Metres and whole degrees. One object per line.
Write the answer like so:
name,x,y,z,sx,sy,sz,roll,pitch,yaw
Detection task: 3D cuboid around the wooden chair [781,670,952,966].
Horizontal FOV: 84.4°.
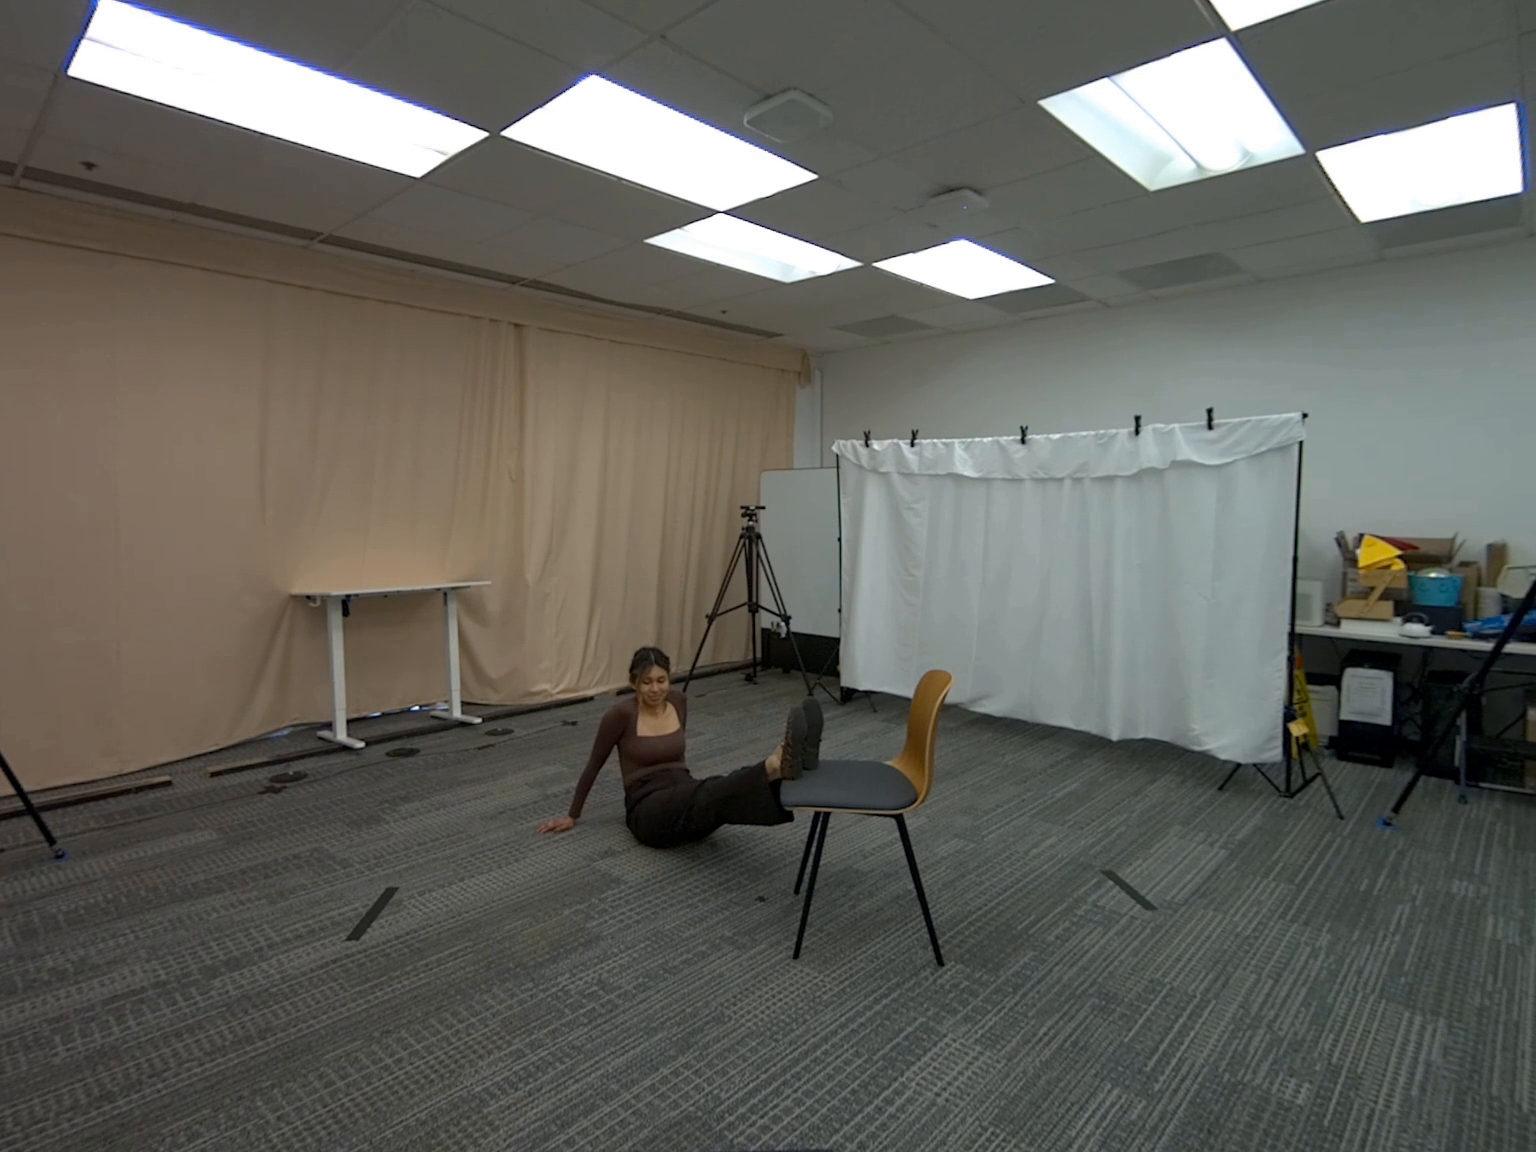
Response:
wooden chair,0.311,0.734,2.755,0.526,0.875,0.476,4,4,4
